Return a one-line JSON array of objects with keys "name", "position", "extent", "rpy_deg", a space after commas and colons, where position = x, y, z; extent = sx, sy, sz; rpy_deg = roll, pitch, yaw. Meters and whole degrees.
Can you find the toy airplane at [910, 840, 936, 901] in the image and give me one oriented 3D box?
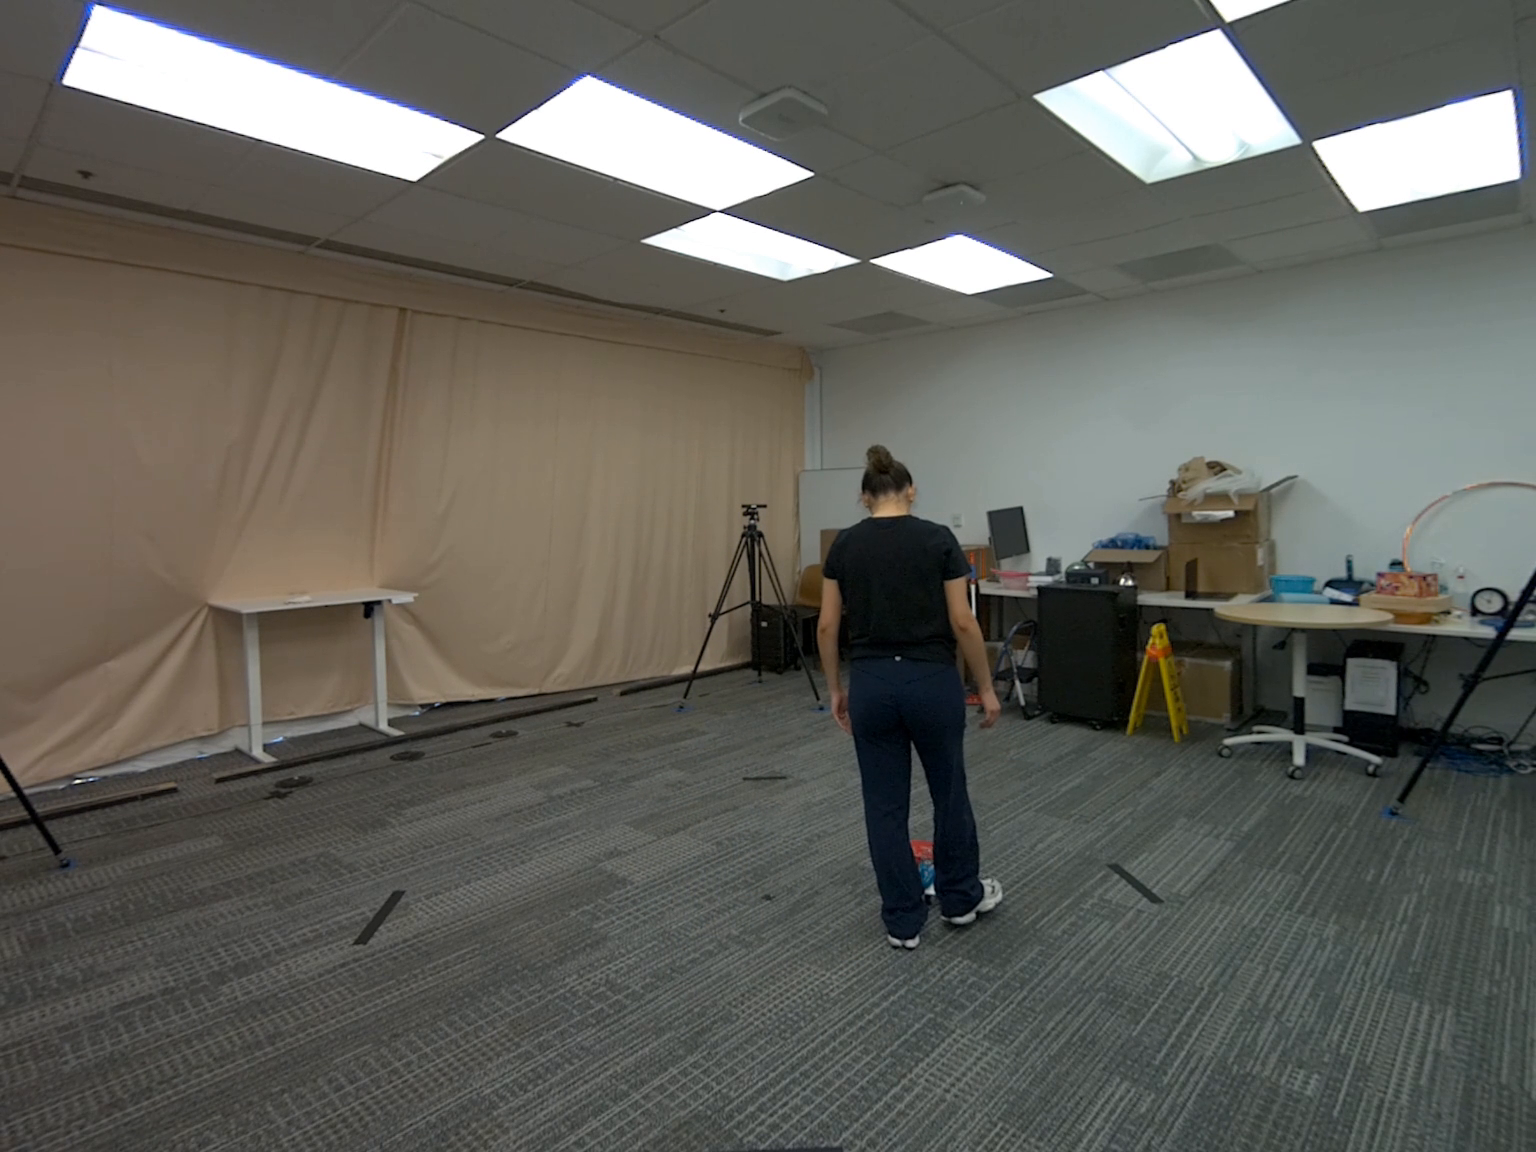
[{"name": "toy airplane", "position": [0.623, 1.057, 2.993], "extent": [0.251, 0.156, 0.259], "rpy_deg": [-1, 3, -1]}]
